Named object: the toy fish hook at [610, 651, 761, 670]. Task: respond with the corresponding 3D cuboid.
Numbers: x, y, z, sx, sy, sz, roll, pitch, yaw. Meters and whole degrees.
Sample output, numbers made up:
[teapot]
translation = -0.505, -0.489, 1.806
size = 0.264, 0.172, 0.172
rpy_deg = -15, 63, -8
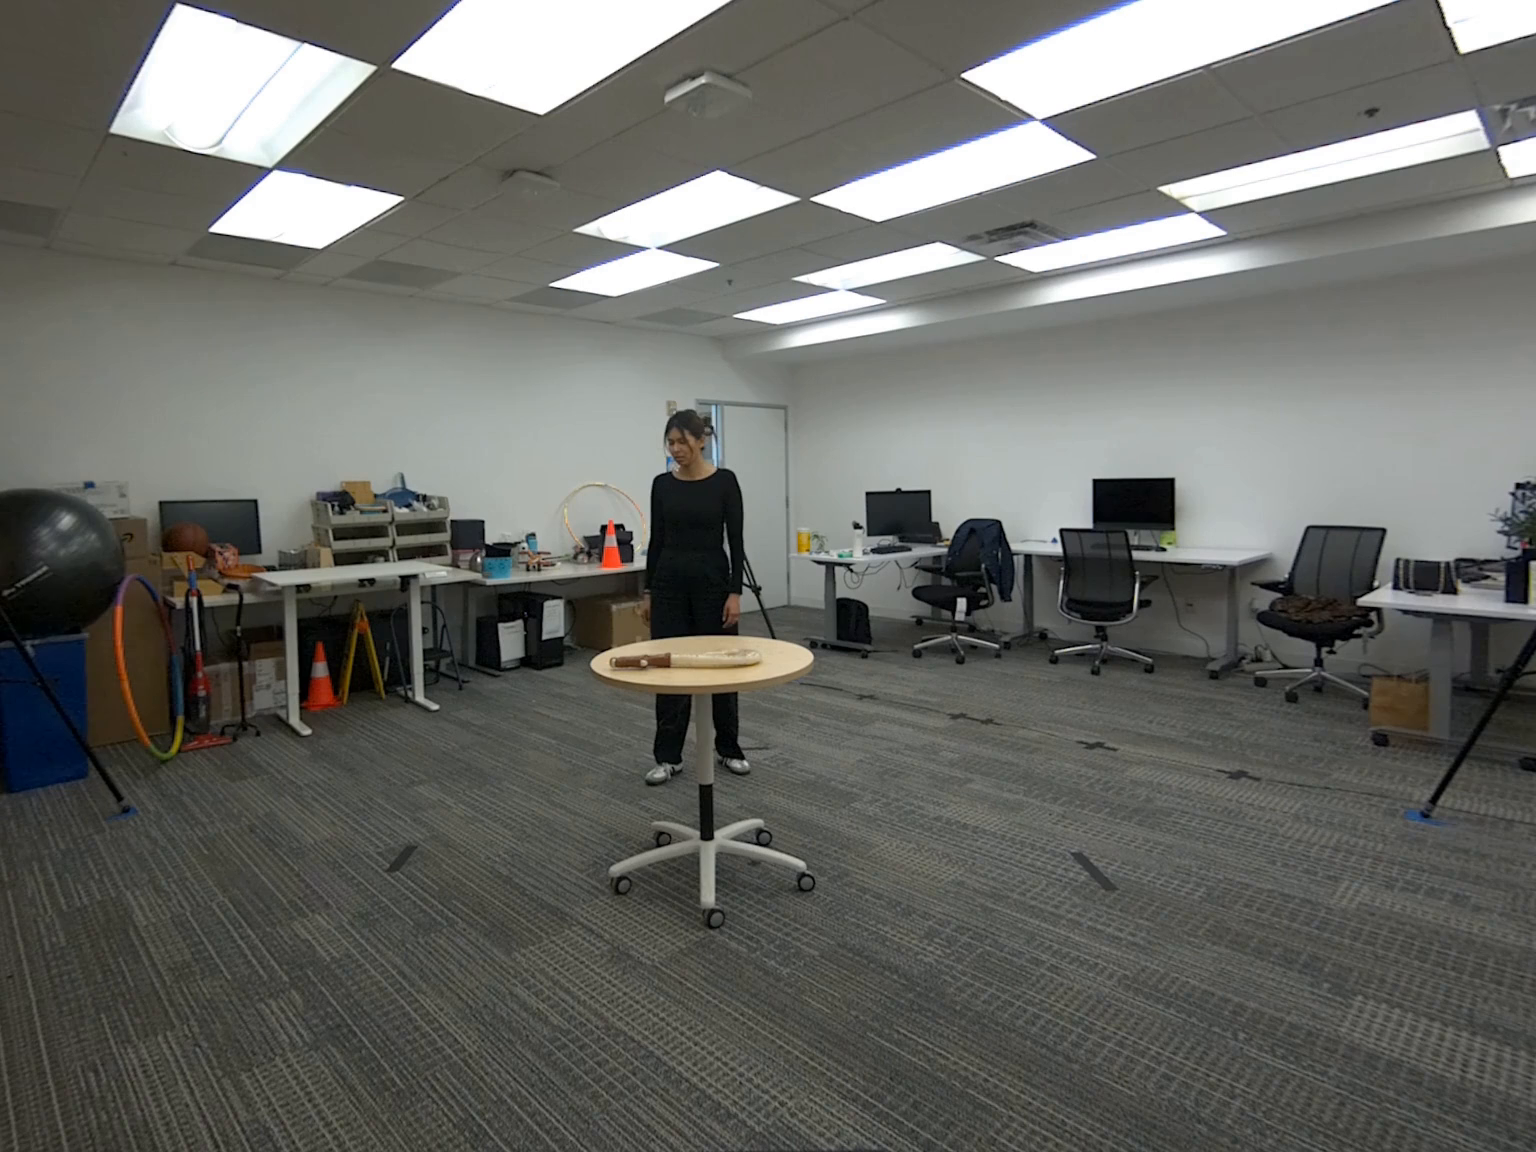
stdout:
[toy fish hook]
translation = -0.282, 0.284, 2.881
size = 0.505, 0.048, 0.224
rpy_deg = -1, -2, -3
